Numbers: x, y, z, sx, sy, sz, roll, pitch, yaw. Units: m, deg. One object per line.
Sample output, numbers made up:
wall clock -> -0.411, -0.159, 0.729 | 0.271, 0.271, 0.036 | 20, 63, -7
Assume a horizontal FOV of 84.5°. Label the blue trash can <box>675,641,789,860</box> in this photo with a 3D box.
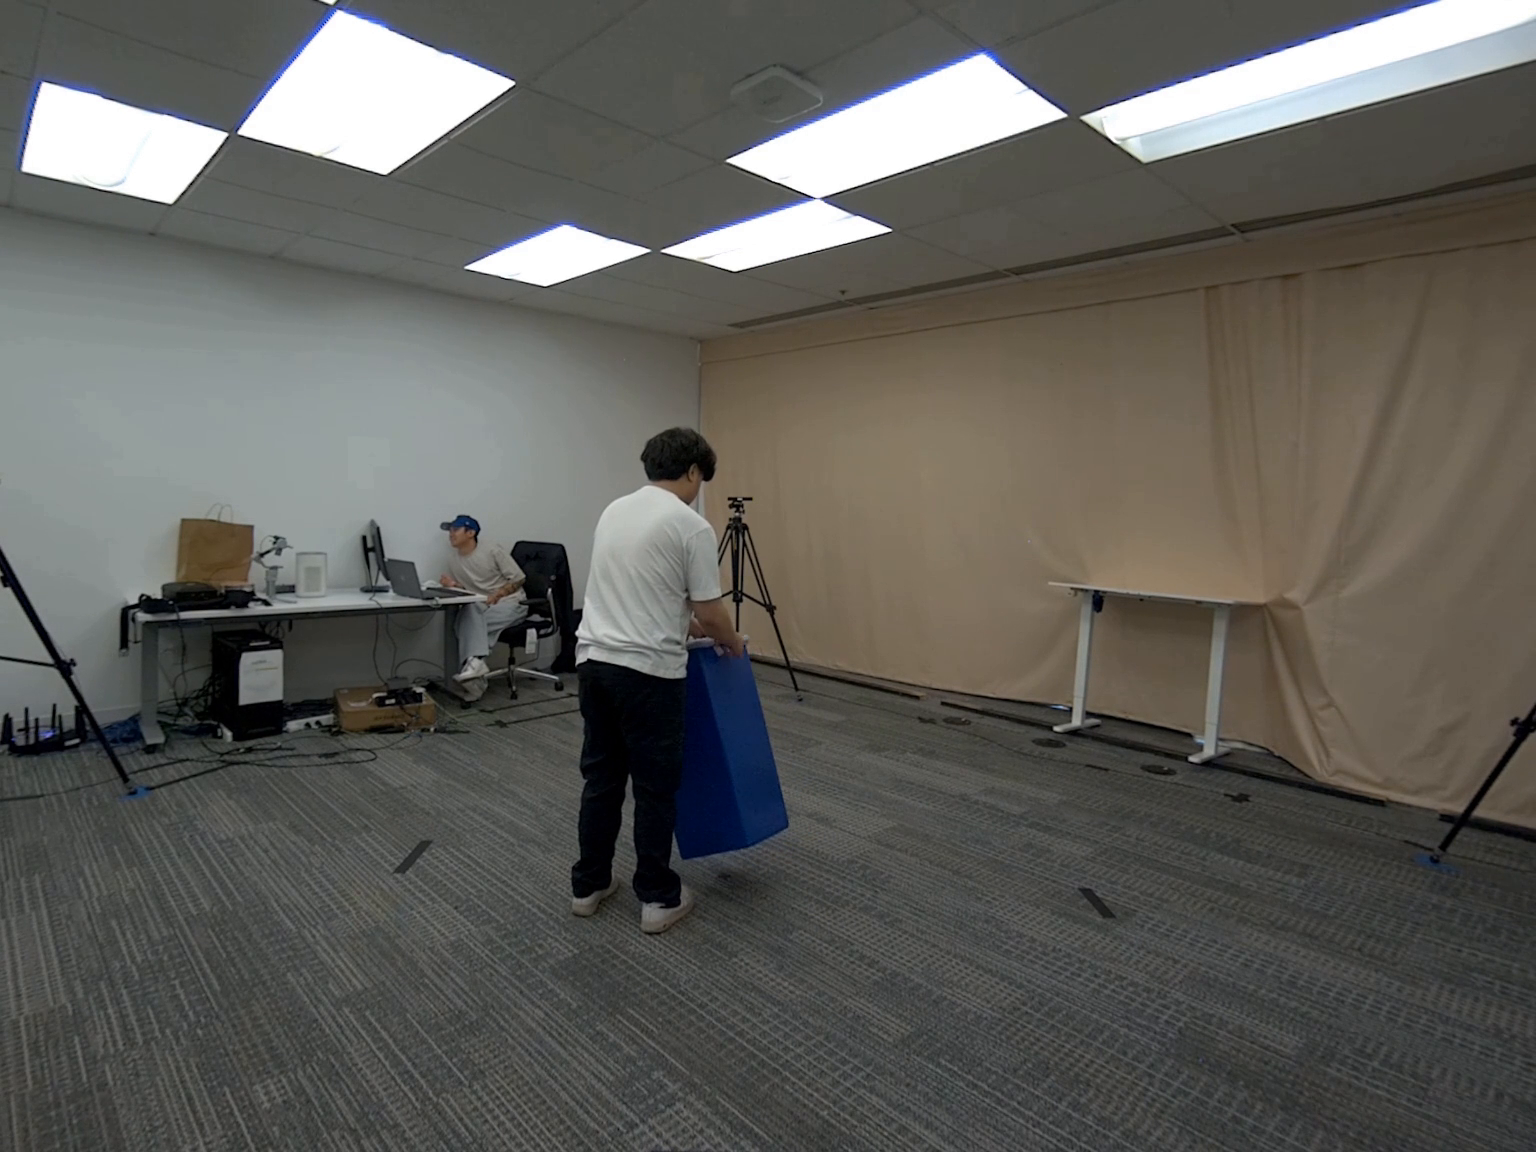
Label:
blue trash can -> -0.219, 0.623, 3.093 | 0.378, 0.722, 0.369 | -22, -15, 27
